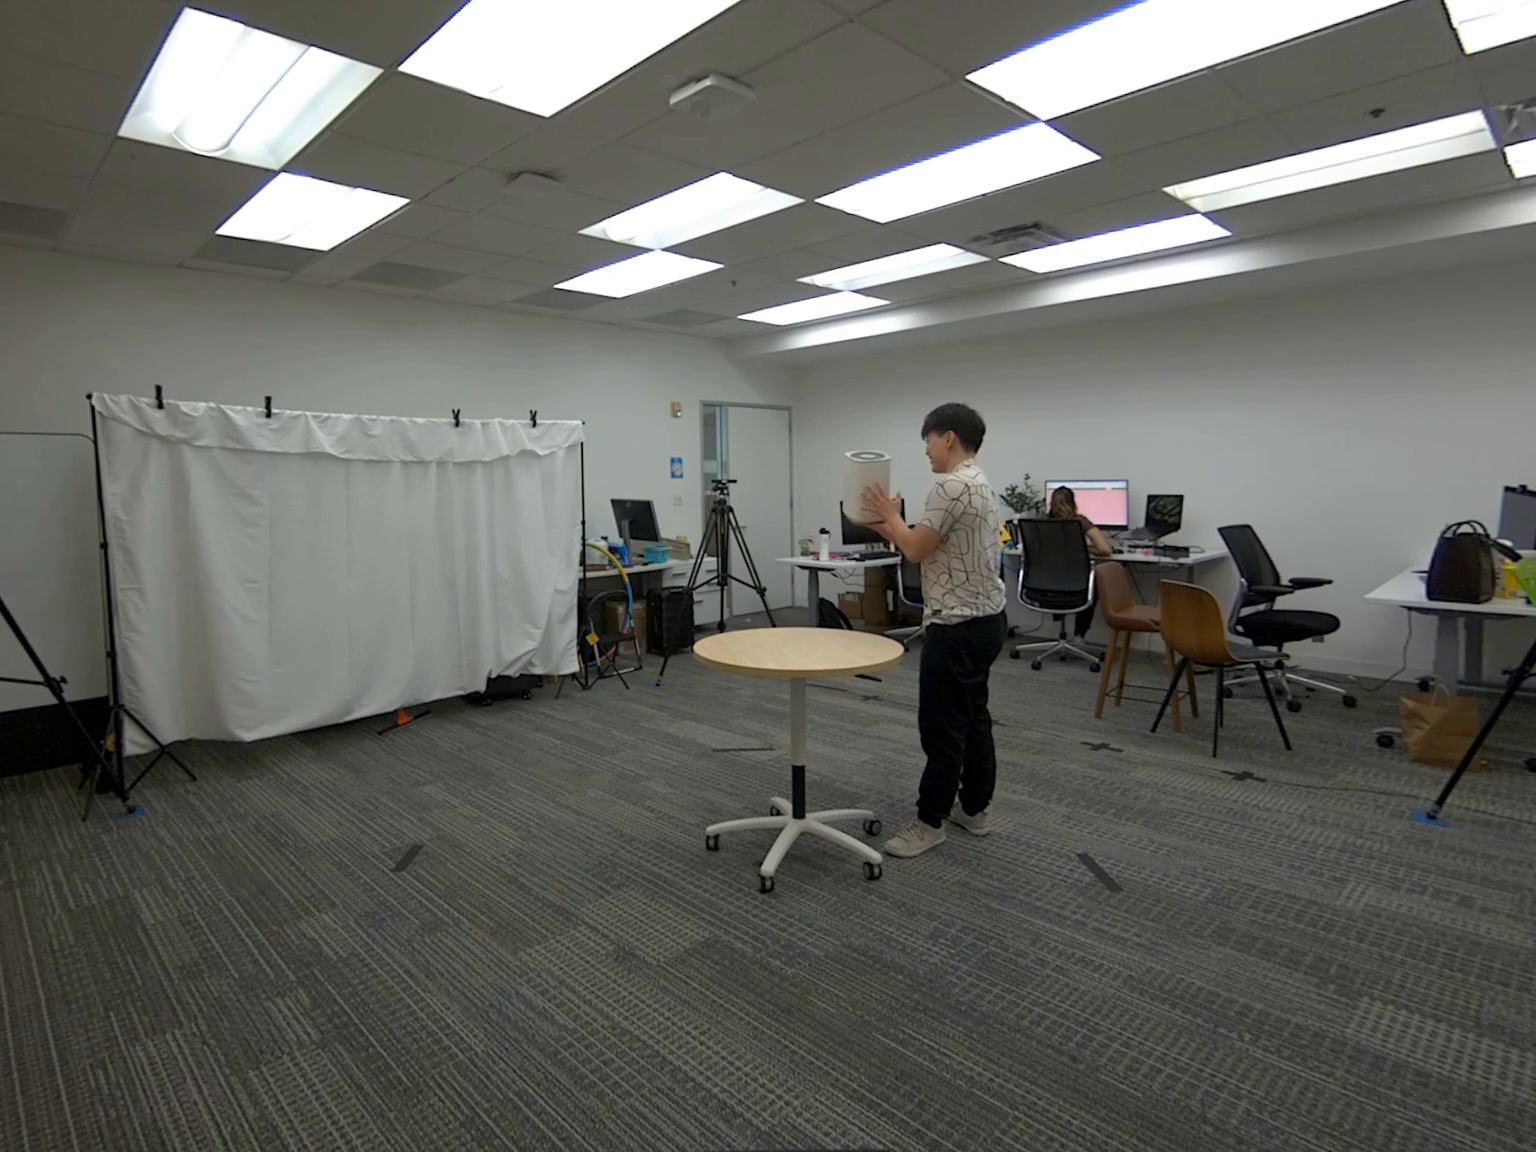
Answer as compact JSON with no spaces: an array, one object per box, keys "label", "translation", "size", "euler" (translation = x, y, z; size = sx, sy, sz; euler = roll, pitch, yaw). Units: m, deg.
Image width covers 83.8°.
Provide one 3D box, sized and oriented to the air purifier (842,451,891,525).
[{"label":"air purifier","translation":[0.409,-0.368,3.505],"size":[0.170,0.260,0.176],"euler":[-6,21,-7]}]
